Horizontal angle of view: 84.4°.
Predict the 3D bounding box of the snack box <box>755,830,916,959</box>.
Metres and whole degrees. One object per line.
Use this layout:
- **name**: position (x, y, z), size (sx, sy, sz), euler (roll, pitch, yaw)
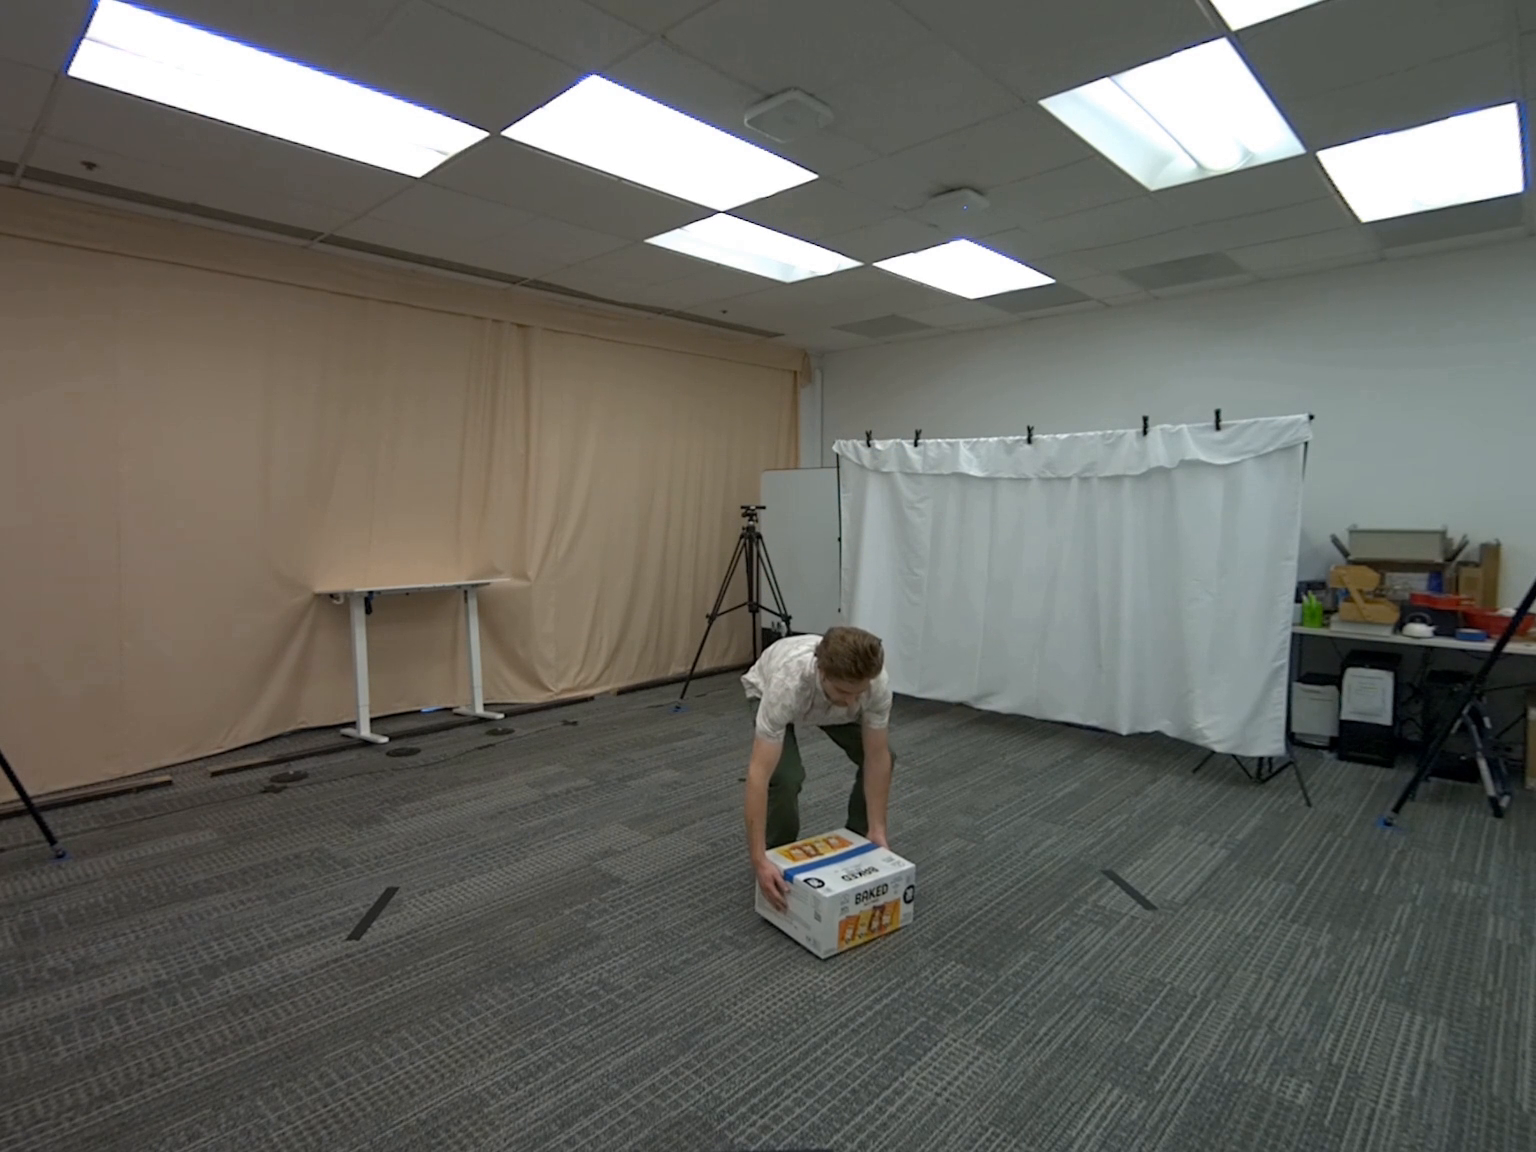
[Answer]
- **snack box**: position (0.229, 1.034, 2.797), size (0.393, 0.205, 0.352), euler (-3, 8, -37)
